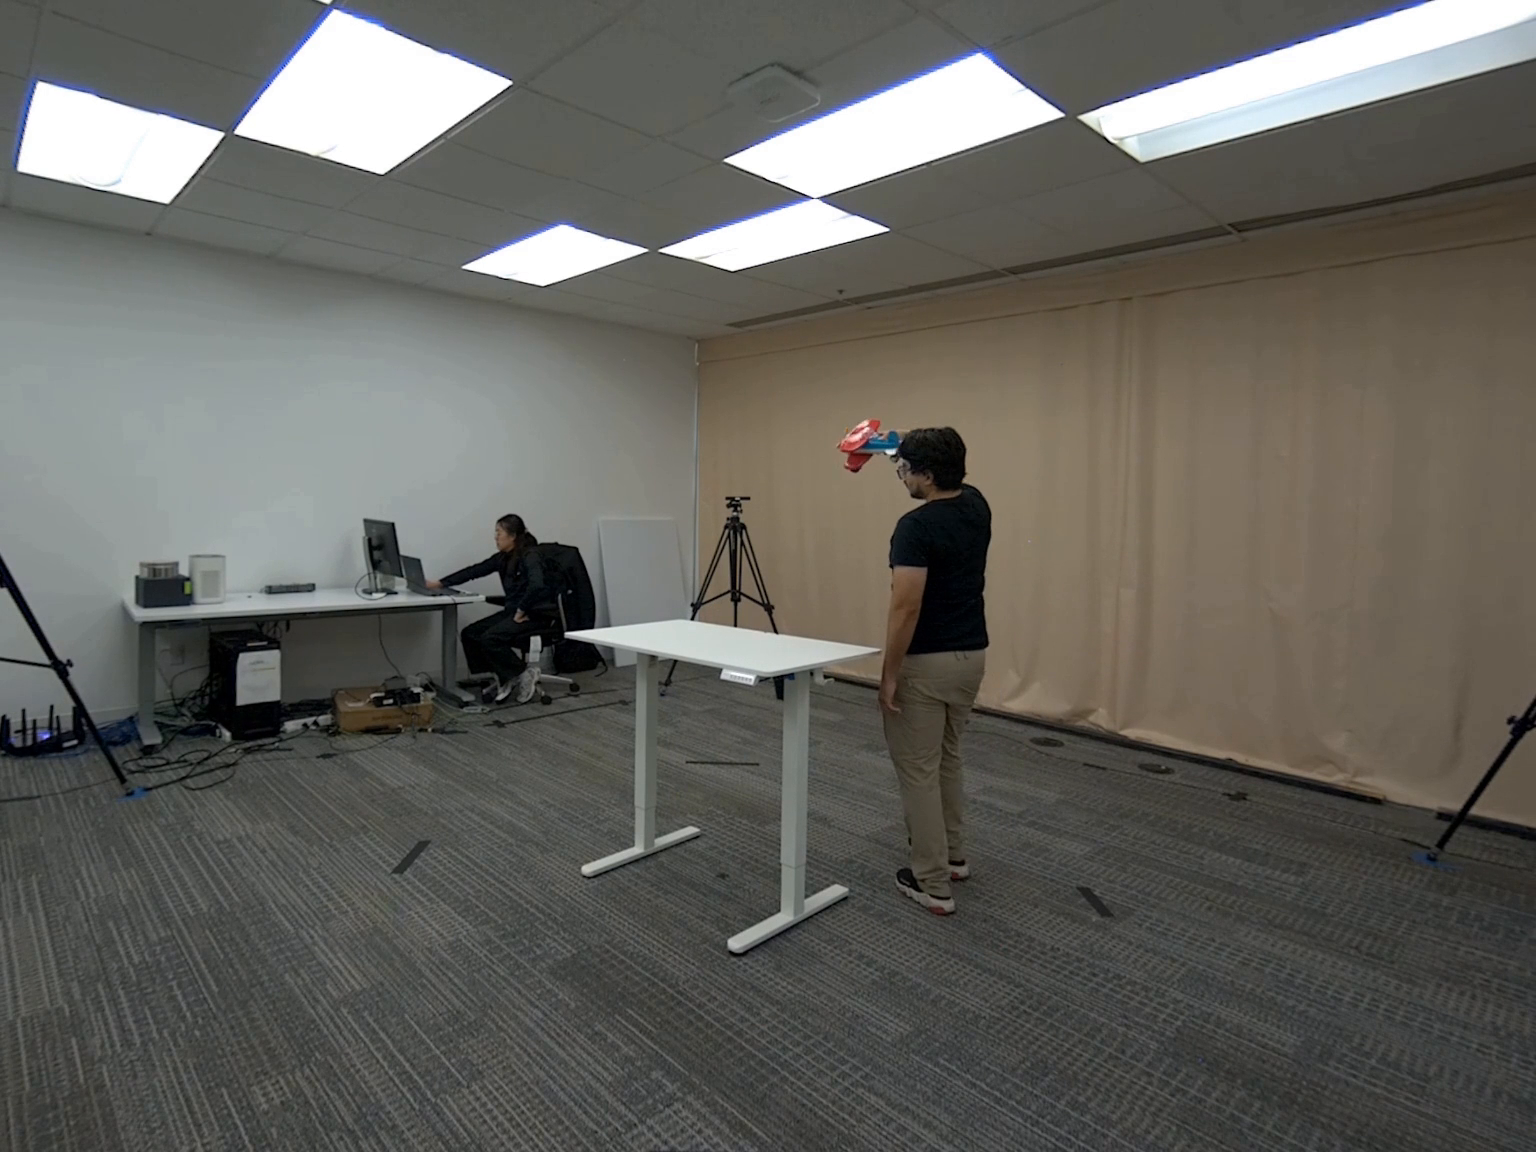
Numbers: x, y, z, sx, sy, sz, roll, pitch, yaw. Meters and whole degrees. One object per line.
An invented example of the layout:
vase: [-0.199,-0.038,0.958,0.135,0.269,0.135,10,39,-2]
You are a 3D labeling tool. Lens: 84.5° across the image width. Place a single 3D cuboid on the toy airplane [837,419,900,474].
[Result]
toy airplane: [0.421,-0.530,3.402,0.261,0.153,0.254,-21,25,19]
